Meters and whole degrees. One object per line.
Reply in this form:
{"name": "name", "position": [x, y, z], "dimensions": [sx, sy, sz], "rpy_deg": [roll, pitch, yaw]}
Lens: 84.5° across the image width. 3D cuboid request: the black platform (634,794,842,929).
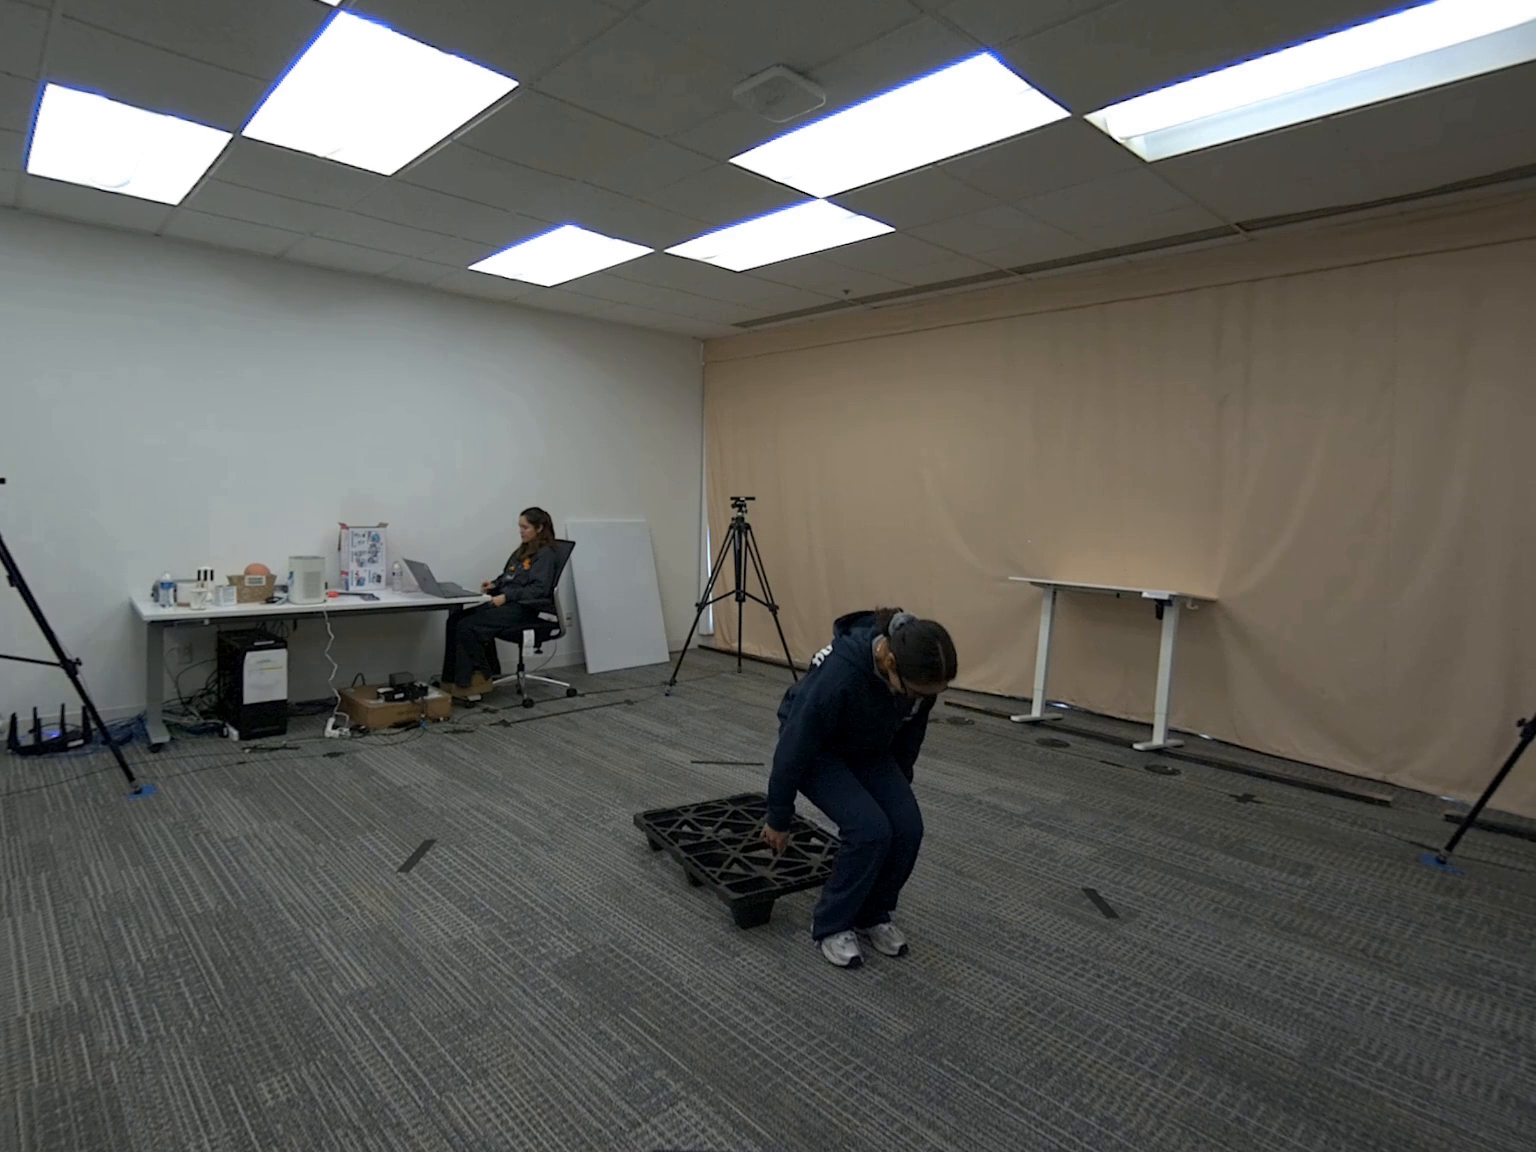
{"name": "black platform", "position": [-0.084, 1.038, 3.149], "dimensions": [0.592, 0.143, 0.825], "rpy_deg": [-1, 6, -32]}
